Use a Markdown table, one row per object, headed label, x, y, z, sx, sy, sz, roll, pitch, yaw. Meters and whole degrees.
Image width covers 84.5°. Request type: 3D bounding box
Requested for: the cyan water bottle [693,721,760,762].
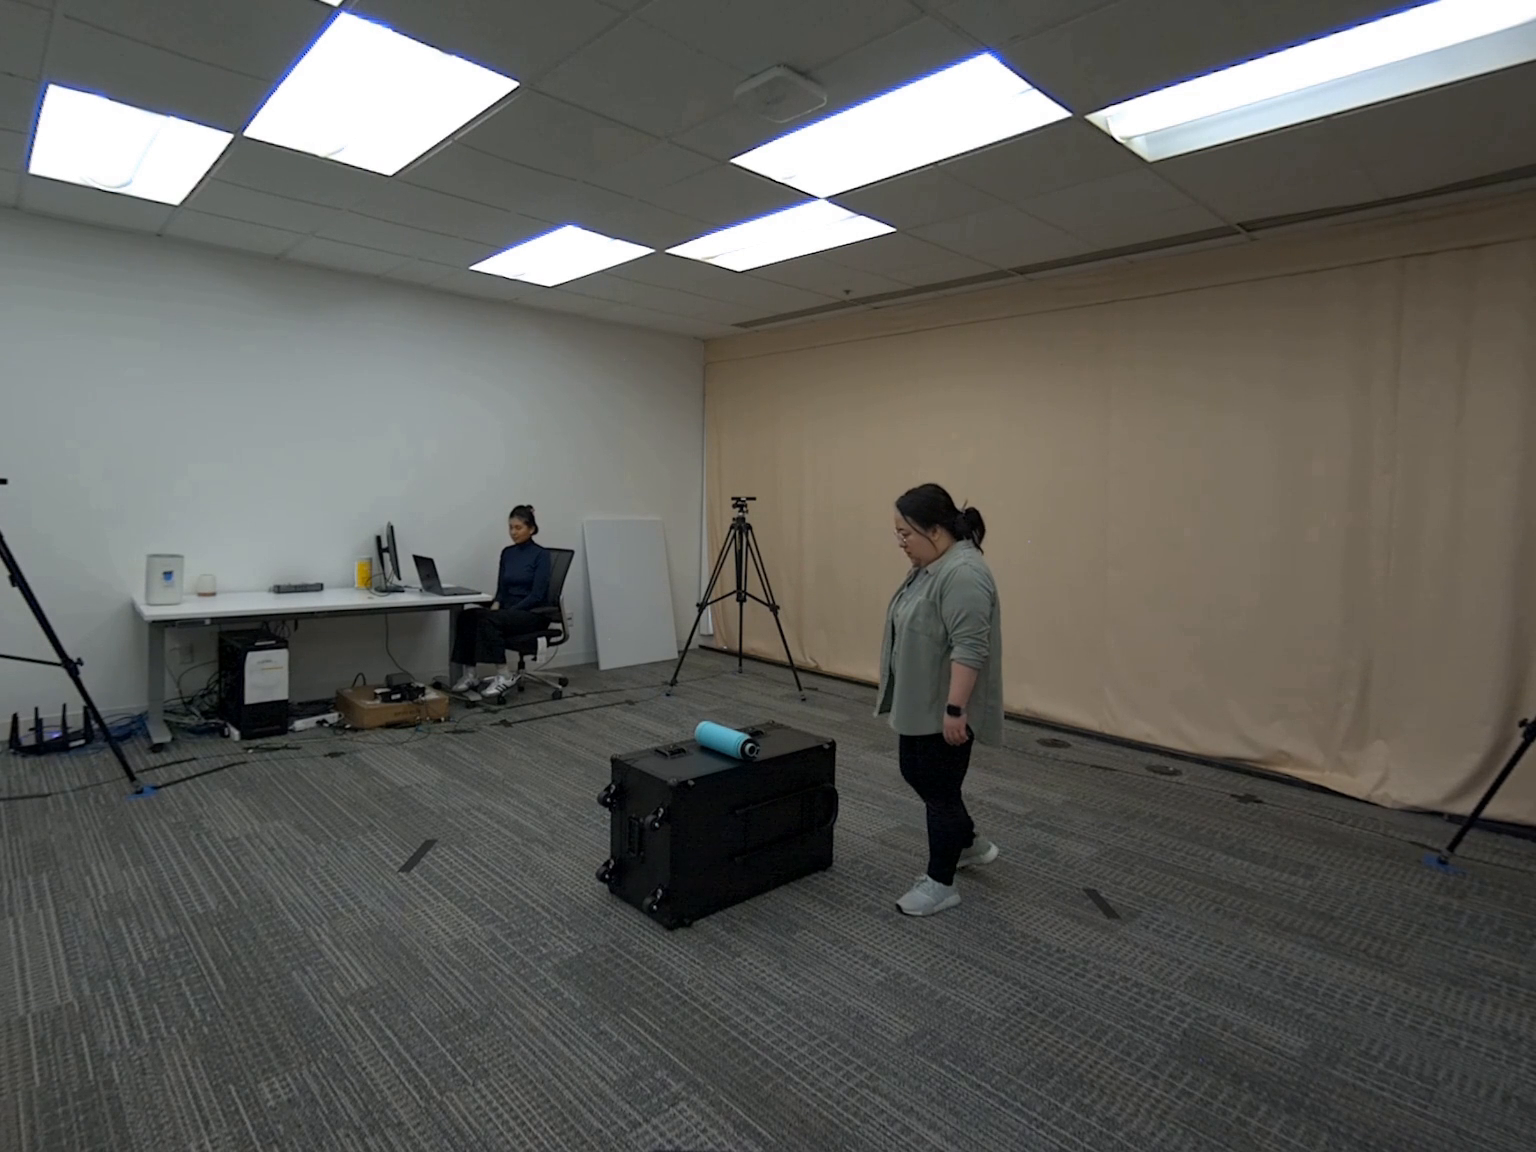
| label | x | y | z | sx | sy | sz | roll | pitch | yaw |
| --- | --- | --- | --- | --- | --- | --- | --- | --- | --- |
| cyan water bottle | -0.146 | 0.583 | 2.995 | 0.090 | 0.092 | 0.291 | -2 | 6 | -43 |
